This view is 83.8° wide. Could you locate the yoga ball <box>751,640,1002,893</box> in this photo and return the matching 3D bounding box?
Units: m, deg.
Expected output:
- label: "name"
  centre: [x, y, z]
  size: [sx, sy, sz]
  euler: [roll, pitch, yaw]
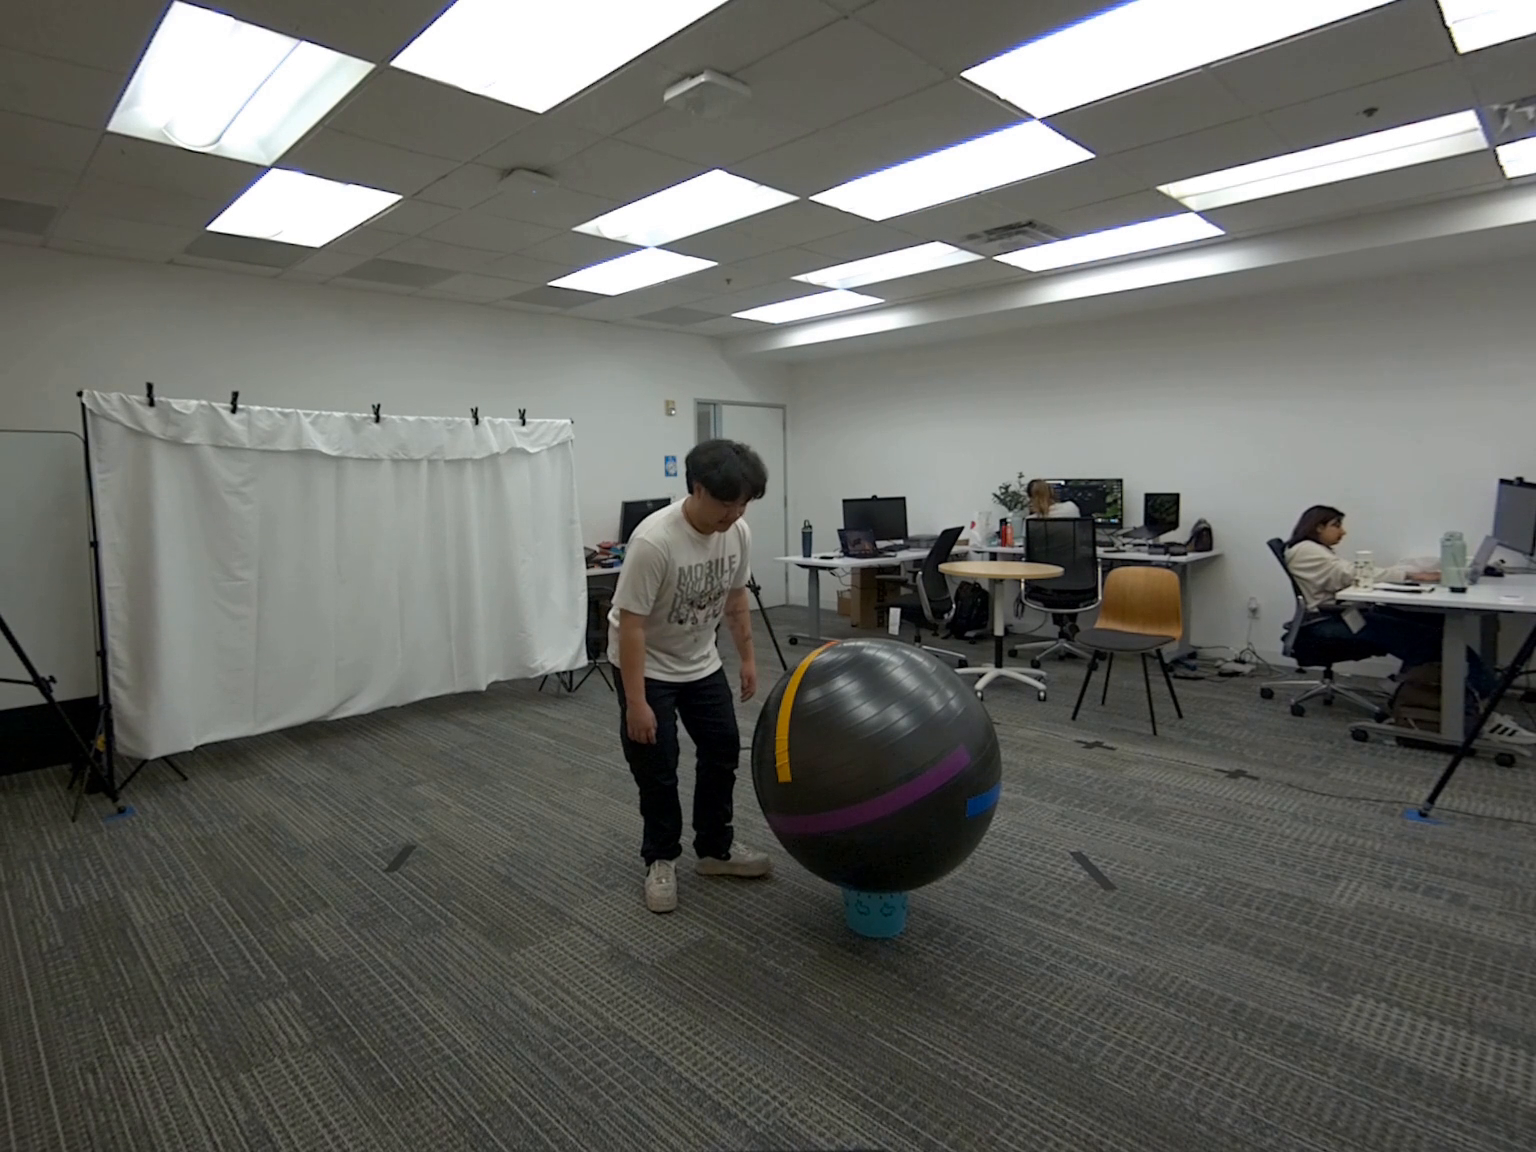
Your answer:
- label: "yoga ball"
  centre: [0.326, 0.573, 2.644]
  size: [0.757, 0.755, 0.762]
  euler: [-1, 5, -2]
